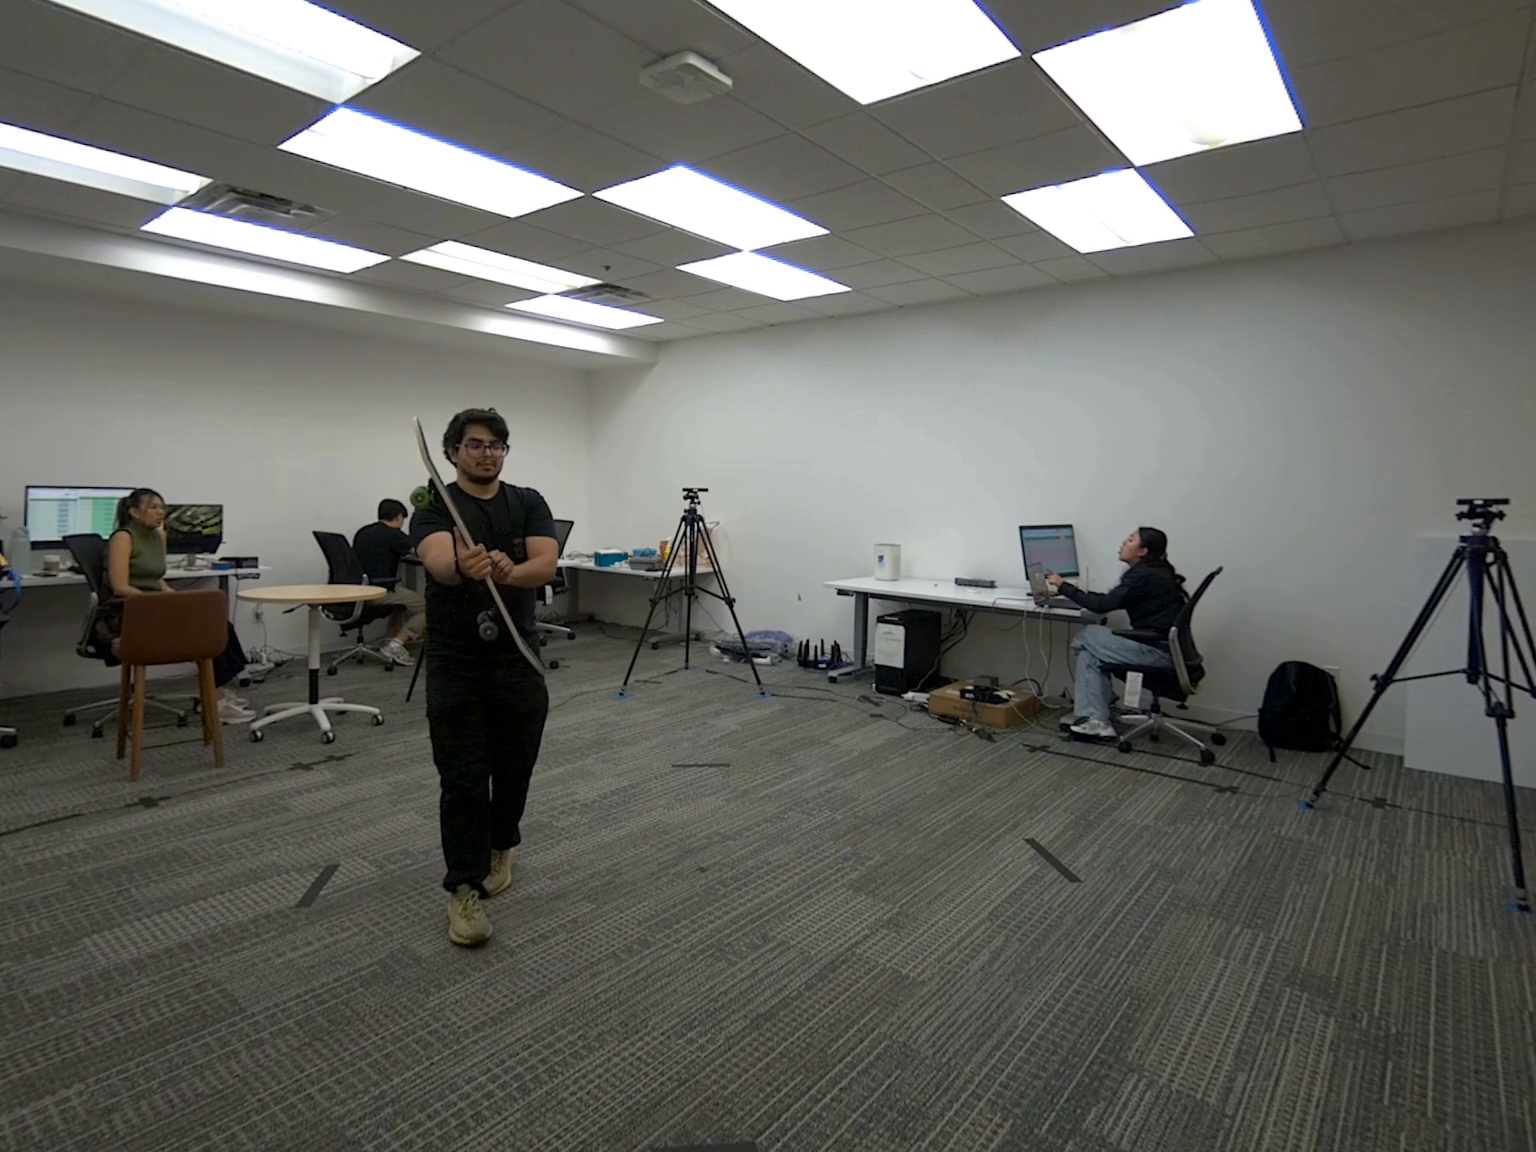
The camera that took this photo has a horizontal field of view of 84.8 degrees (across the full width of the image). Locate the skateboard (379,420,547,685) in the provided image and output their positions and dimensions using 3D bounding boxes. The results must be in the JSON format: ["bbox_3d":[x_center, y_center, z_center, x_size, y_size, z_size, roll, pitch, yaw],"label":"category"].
[{"bbox_3d":[-0.835,-0.044,2.330,0.109,0.773,0.198,-25,13,-13],"label":"skateboard"}]
